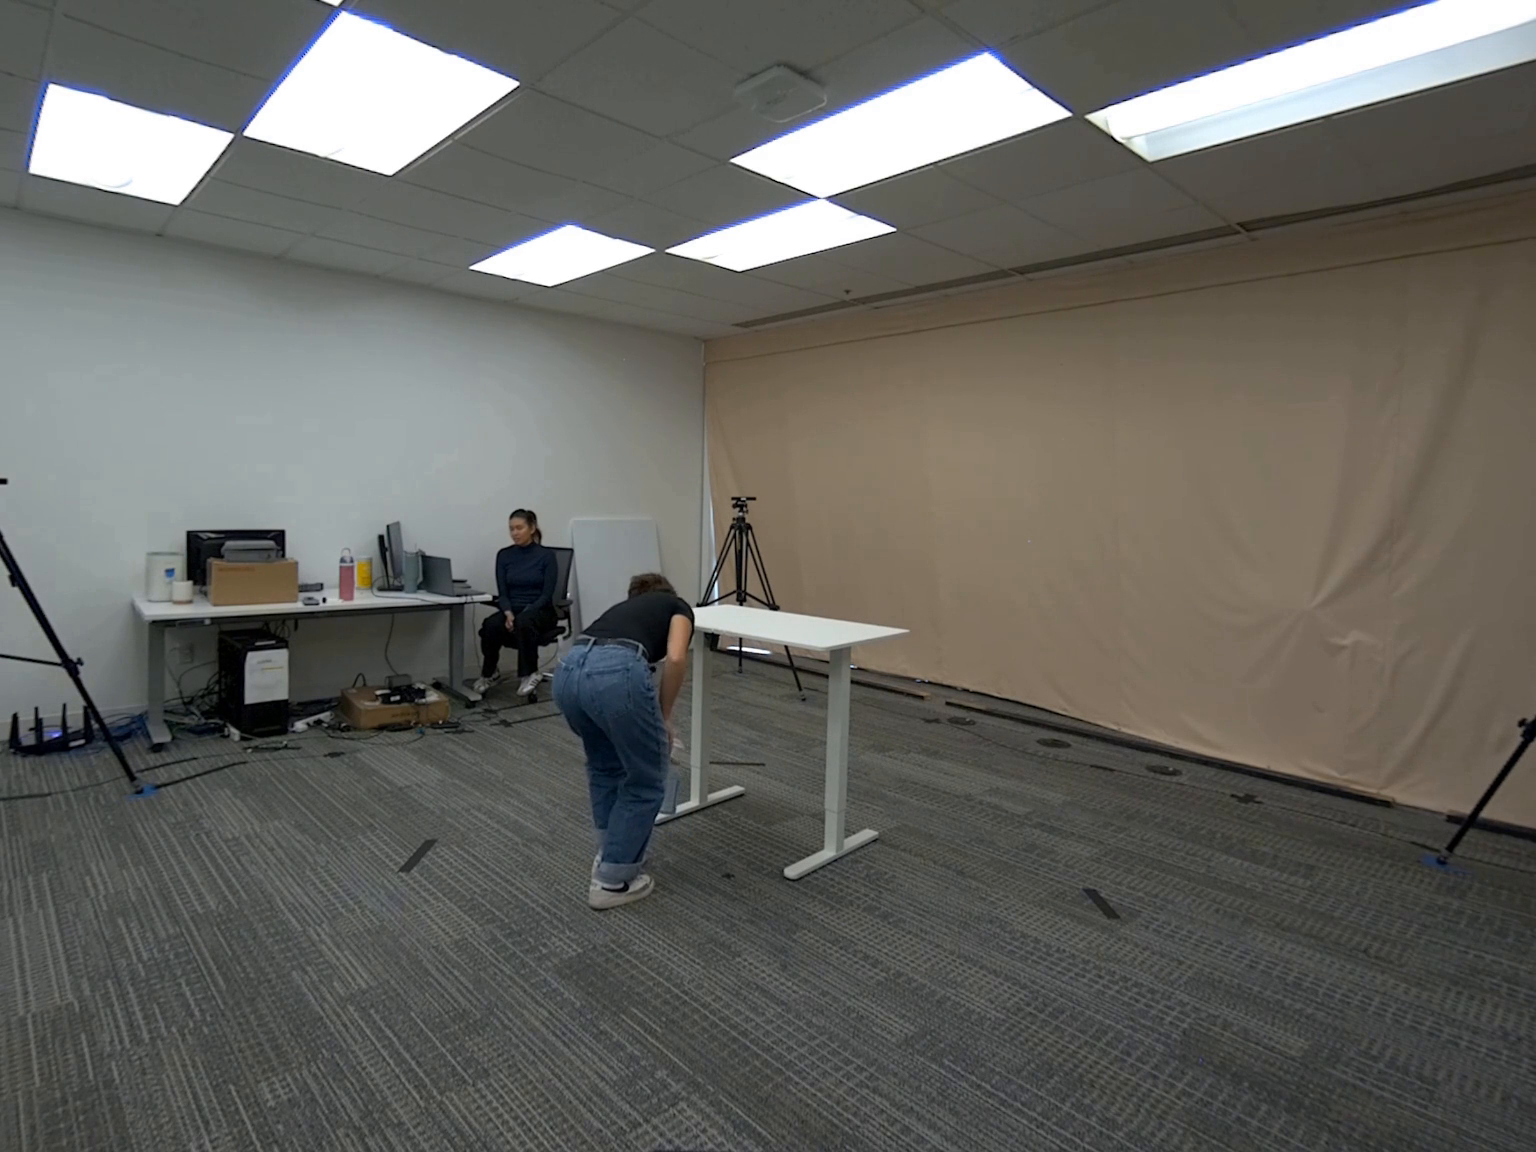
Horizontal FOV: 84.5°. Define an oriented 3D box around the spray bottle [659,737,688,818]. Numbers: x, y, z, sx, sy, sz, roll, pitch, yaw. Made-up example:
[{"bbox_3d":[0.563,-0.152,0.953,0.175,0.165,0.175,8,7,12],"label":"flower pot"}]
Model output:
[{"bbox_3d":[-0.393,0.801,3.392,0.085,0.297,0.092,7,1,-41],"label":"spray bottle"}]
